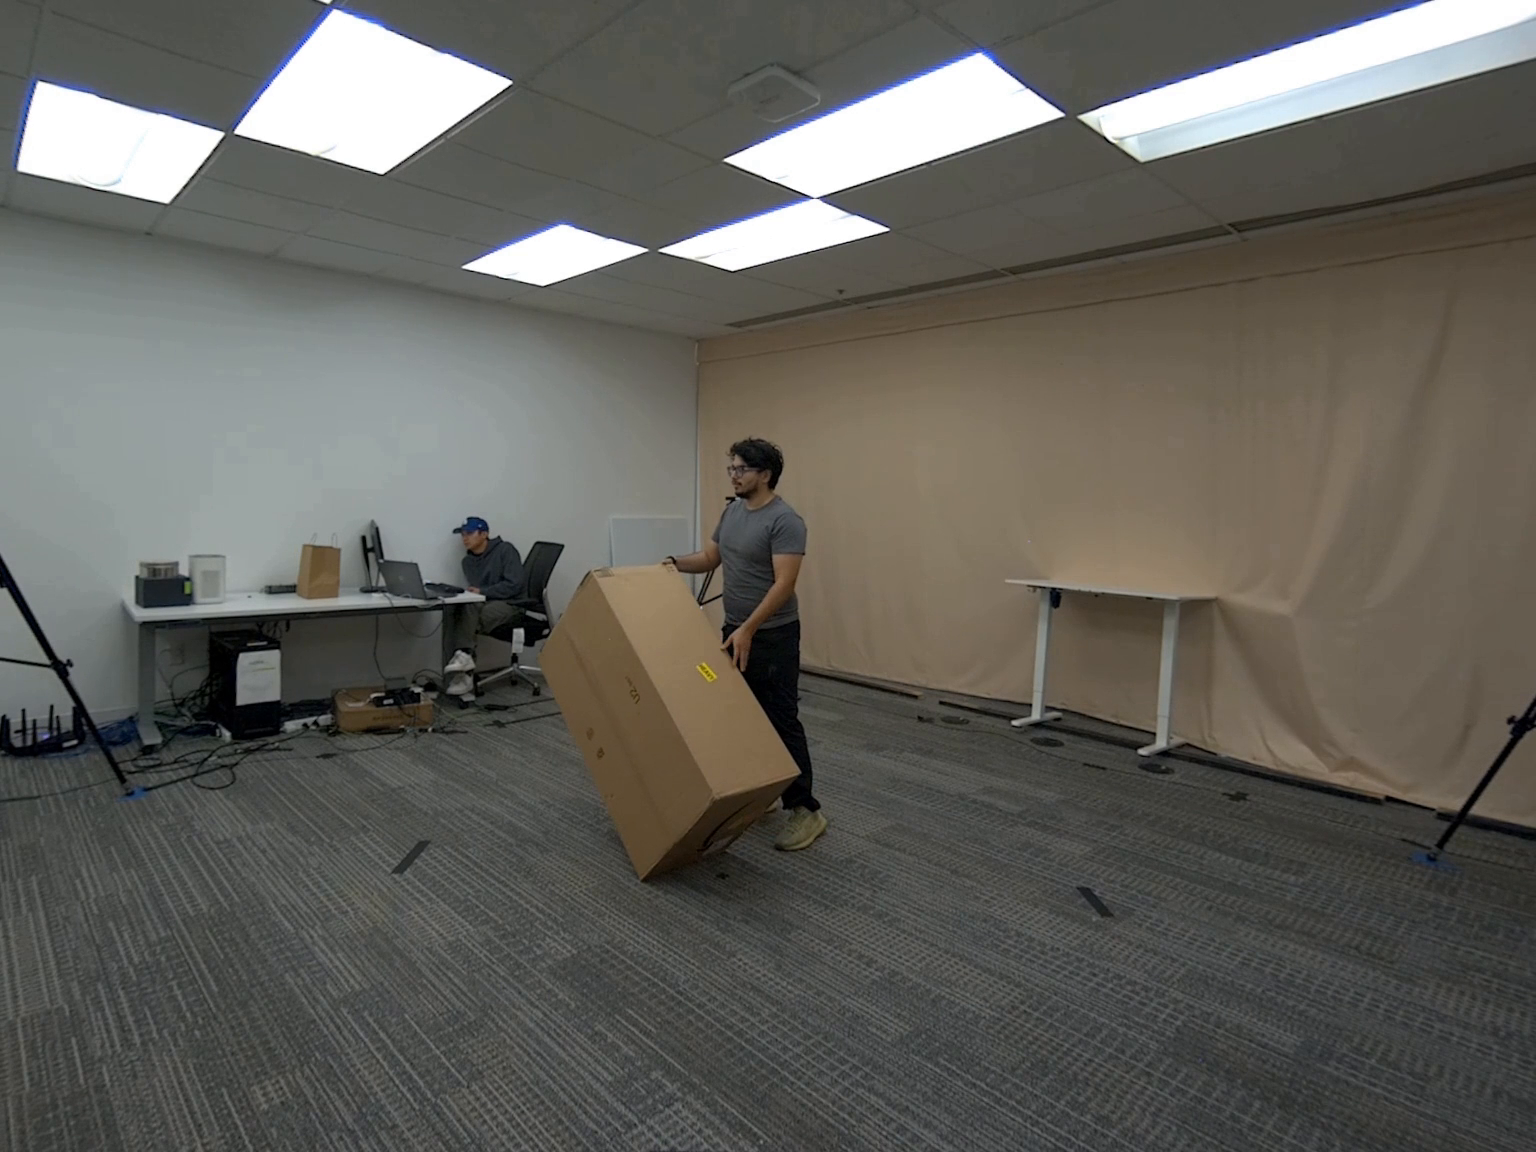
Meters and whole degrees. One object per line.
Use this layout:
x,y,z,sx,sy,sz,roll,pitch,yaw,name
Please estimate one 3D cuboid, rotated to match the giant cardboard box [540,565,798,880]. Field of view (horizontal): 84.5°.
-0.430,0.534,3.281,0.416,0.575,1.053,-1,48,-45,giant cardboard box
